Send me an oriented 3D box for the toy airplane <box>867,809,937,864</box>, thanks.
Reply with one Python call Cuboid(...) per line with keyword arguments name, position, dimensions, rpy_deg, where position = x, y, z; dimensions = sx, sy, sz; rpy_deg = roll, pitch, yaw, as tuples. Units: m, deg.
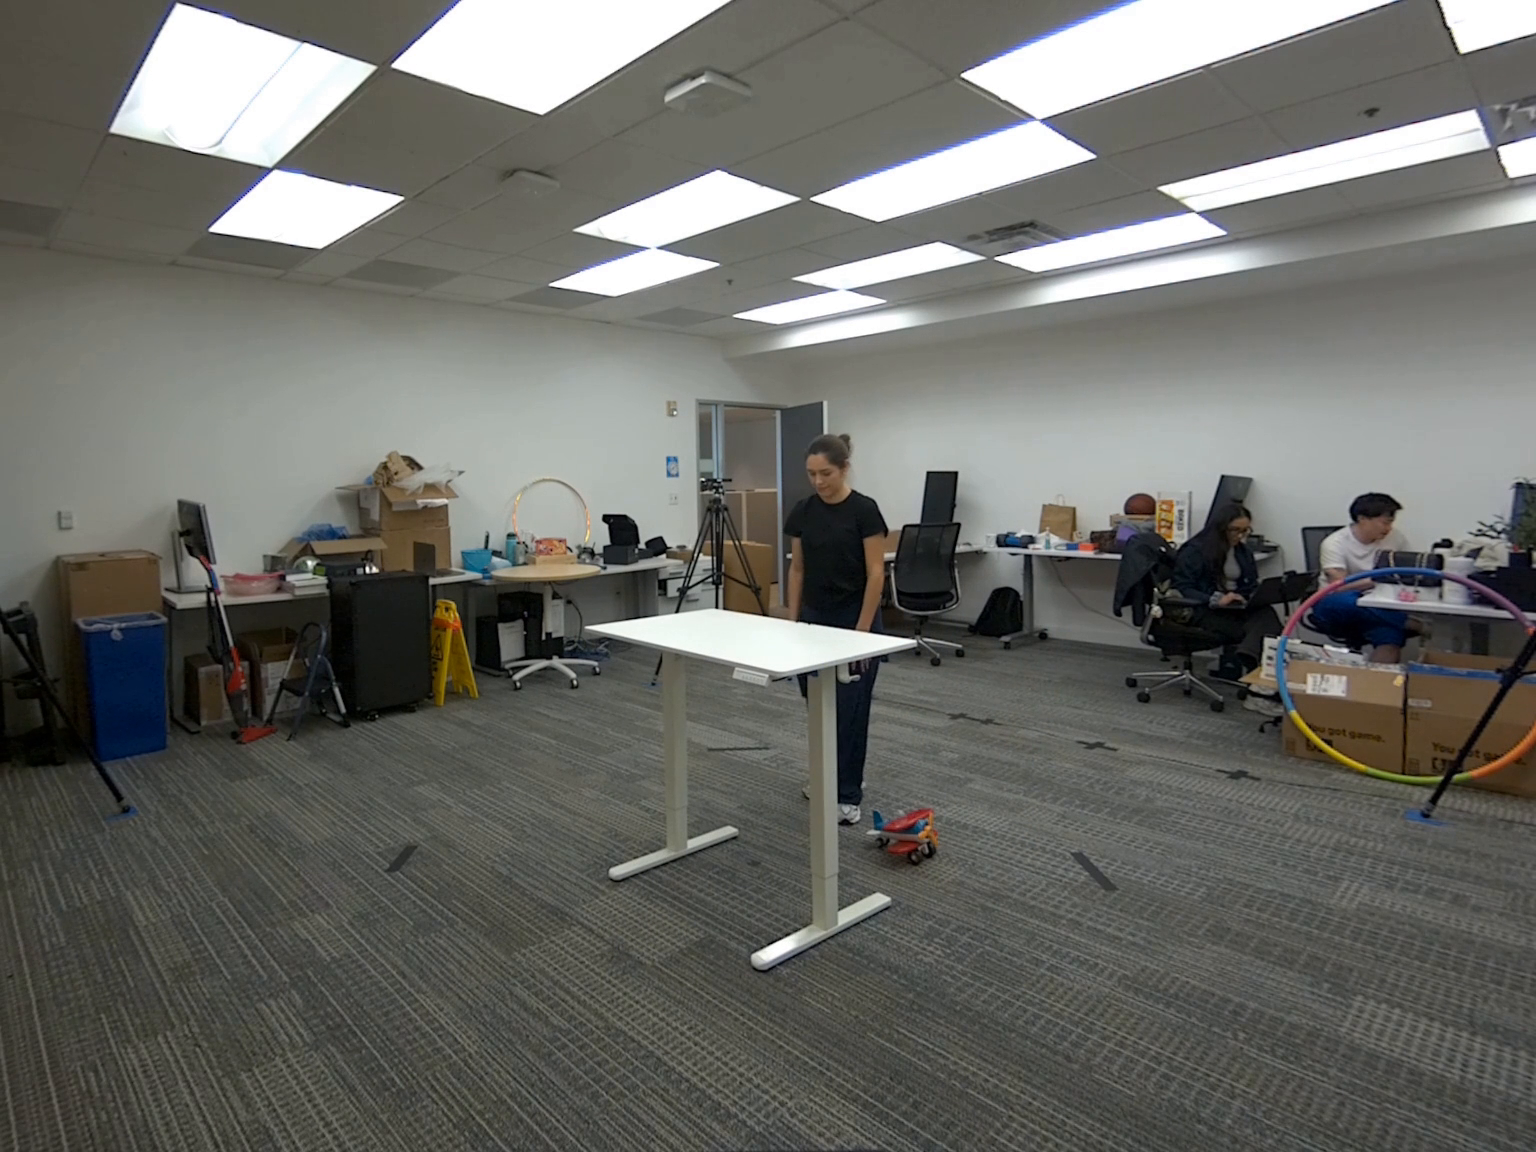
Cuboid(name="toy airplane", position=(0.484, 0.953, 3.164), dimensions=(0.264, 0.155, 0.248), rpy_deg=(2, 7, 18))
